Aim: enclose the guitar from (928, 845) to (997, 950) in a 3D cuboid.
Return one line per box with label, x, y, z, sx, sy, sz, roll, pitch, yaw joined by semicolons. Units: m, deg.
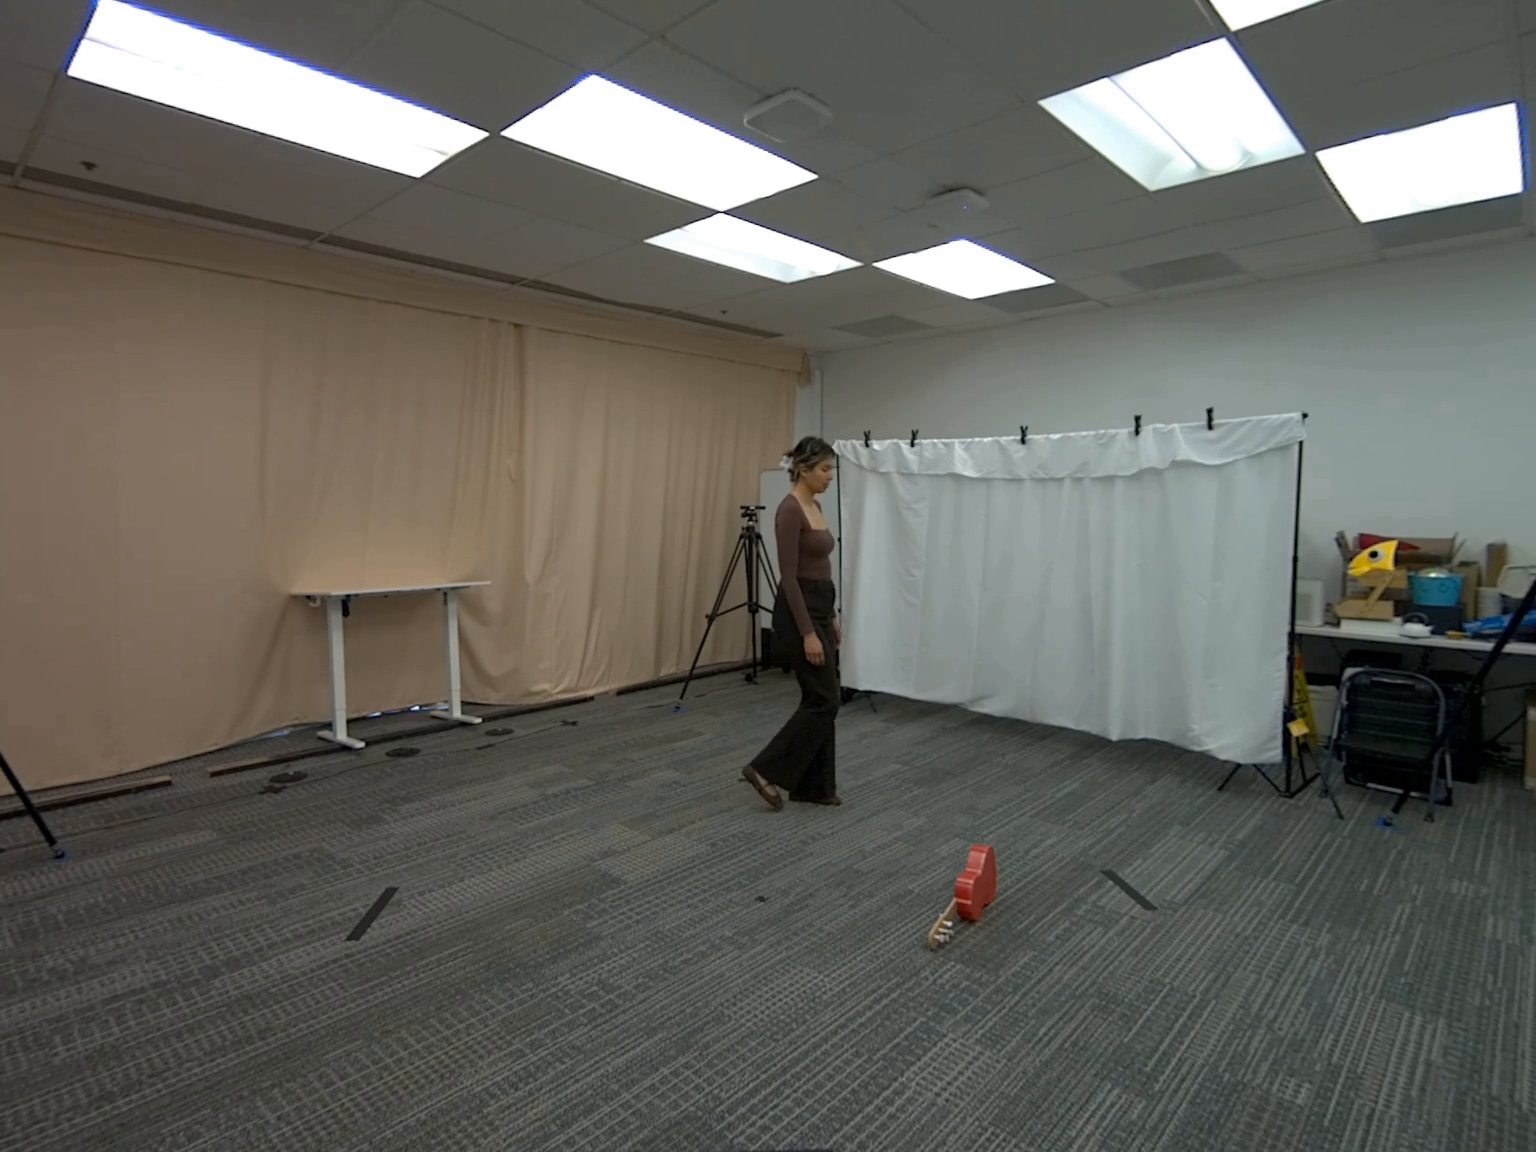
guitar;0.667;1.116;2.815;0.073;0.190;0.490;0;22;33
